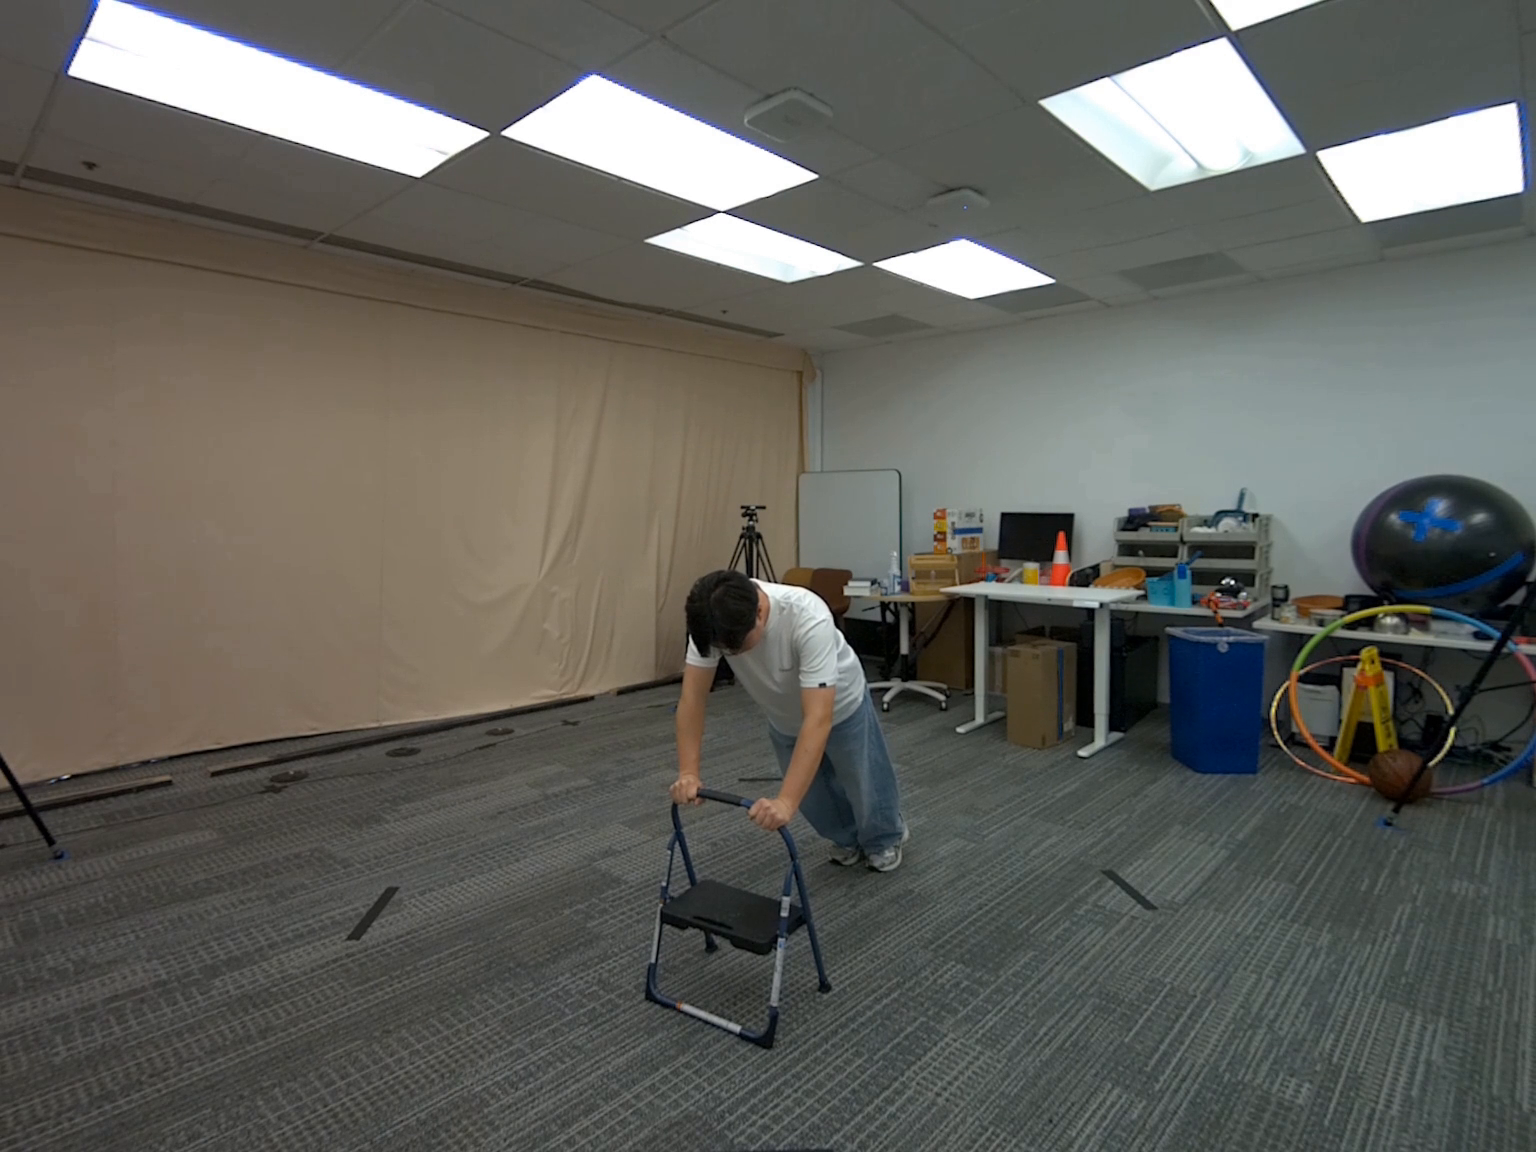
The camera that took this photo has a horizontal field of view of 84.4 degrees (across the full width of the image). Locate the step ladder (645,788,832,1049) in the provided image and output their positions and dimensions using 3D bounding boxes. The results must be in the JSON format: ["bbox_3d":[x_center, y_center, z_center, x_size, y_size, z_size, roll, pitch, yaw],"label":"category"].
[{"bbox_3d":[-0.089,0.891,2.385,0.443,0.604,0.340,2,5,32],"label":"step ladder"}]
